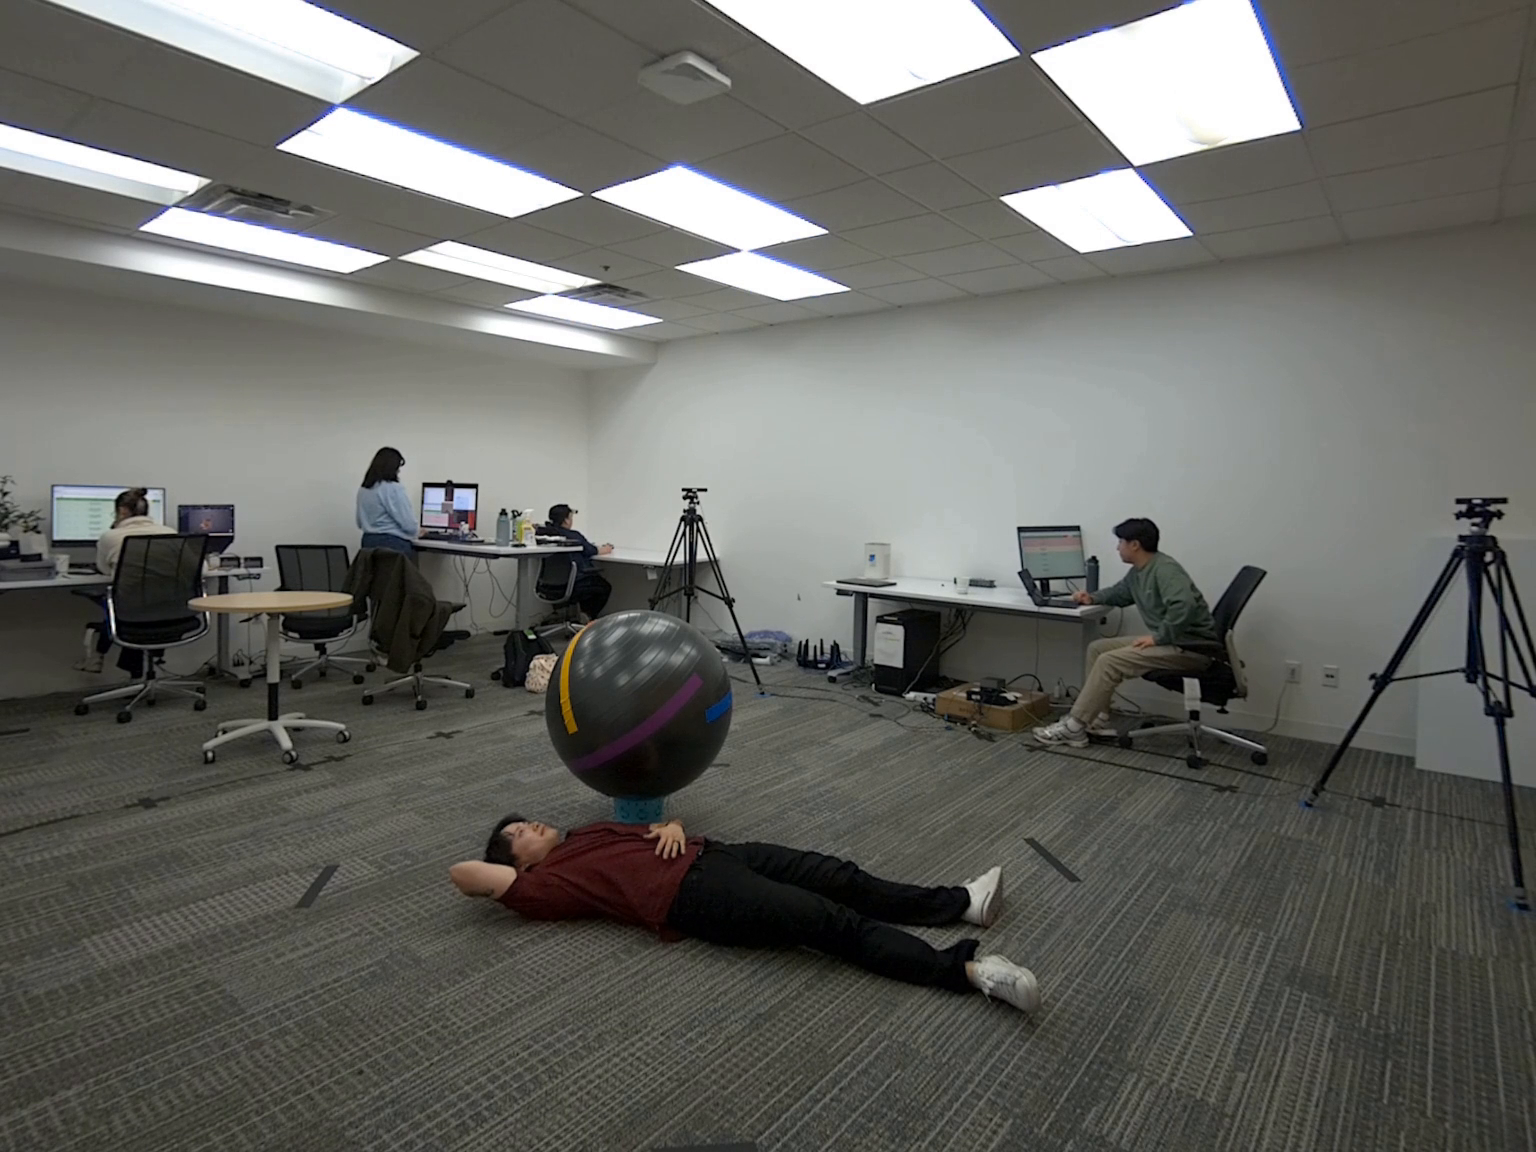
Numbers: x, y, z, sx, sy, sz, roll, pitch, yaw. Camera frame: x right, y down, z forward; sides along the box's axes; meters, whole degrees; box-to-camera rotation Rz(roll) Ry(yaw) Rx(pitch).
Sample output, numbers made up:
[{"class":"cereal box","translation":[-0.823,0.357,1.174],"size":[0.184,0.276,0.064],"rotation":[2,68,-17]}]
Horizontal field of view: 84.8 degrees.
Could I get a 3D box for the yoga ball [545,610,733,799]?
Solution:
[{"class":"yoga ball","translation":[-0.530,0.520,3.471],"size":[0.757,0.755,0.762],"rotation":[1,4,-2]}]
